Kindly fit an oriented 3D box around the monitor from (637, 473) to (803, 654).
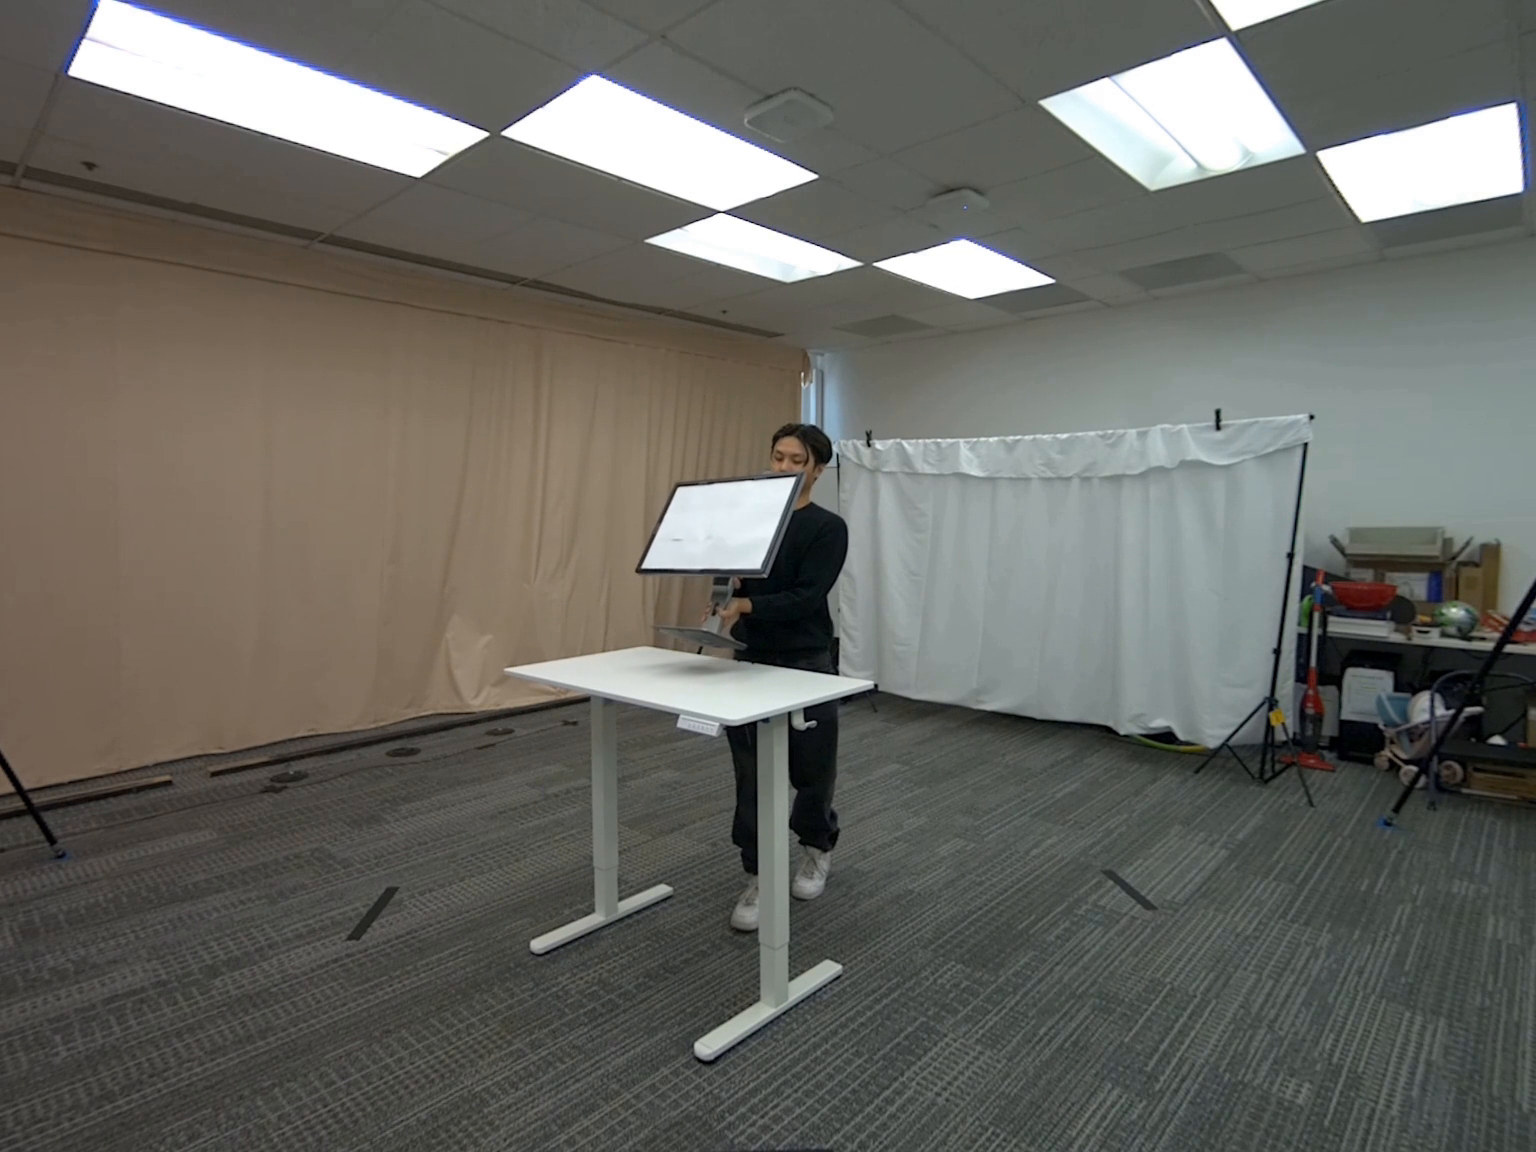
[{"bbox_3d":[-0.154,-0.059,2.671,0.556,0.525,0.180,1,-17,40],"label":"monitor"}]
